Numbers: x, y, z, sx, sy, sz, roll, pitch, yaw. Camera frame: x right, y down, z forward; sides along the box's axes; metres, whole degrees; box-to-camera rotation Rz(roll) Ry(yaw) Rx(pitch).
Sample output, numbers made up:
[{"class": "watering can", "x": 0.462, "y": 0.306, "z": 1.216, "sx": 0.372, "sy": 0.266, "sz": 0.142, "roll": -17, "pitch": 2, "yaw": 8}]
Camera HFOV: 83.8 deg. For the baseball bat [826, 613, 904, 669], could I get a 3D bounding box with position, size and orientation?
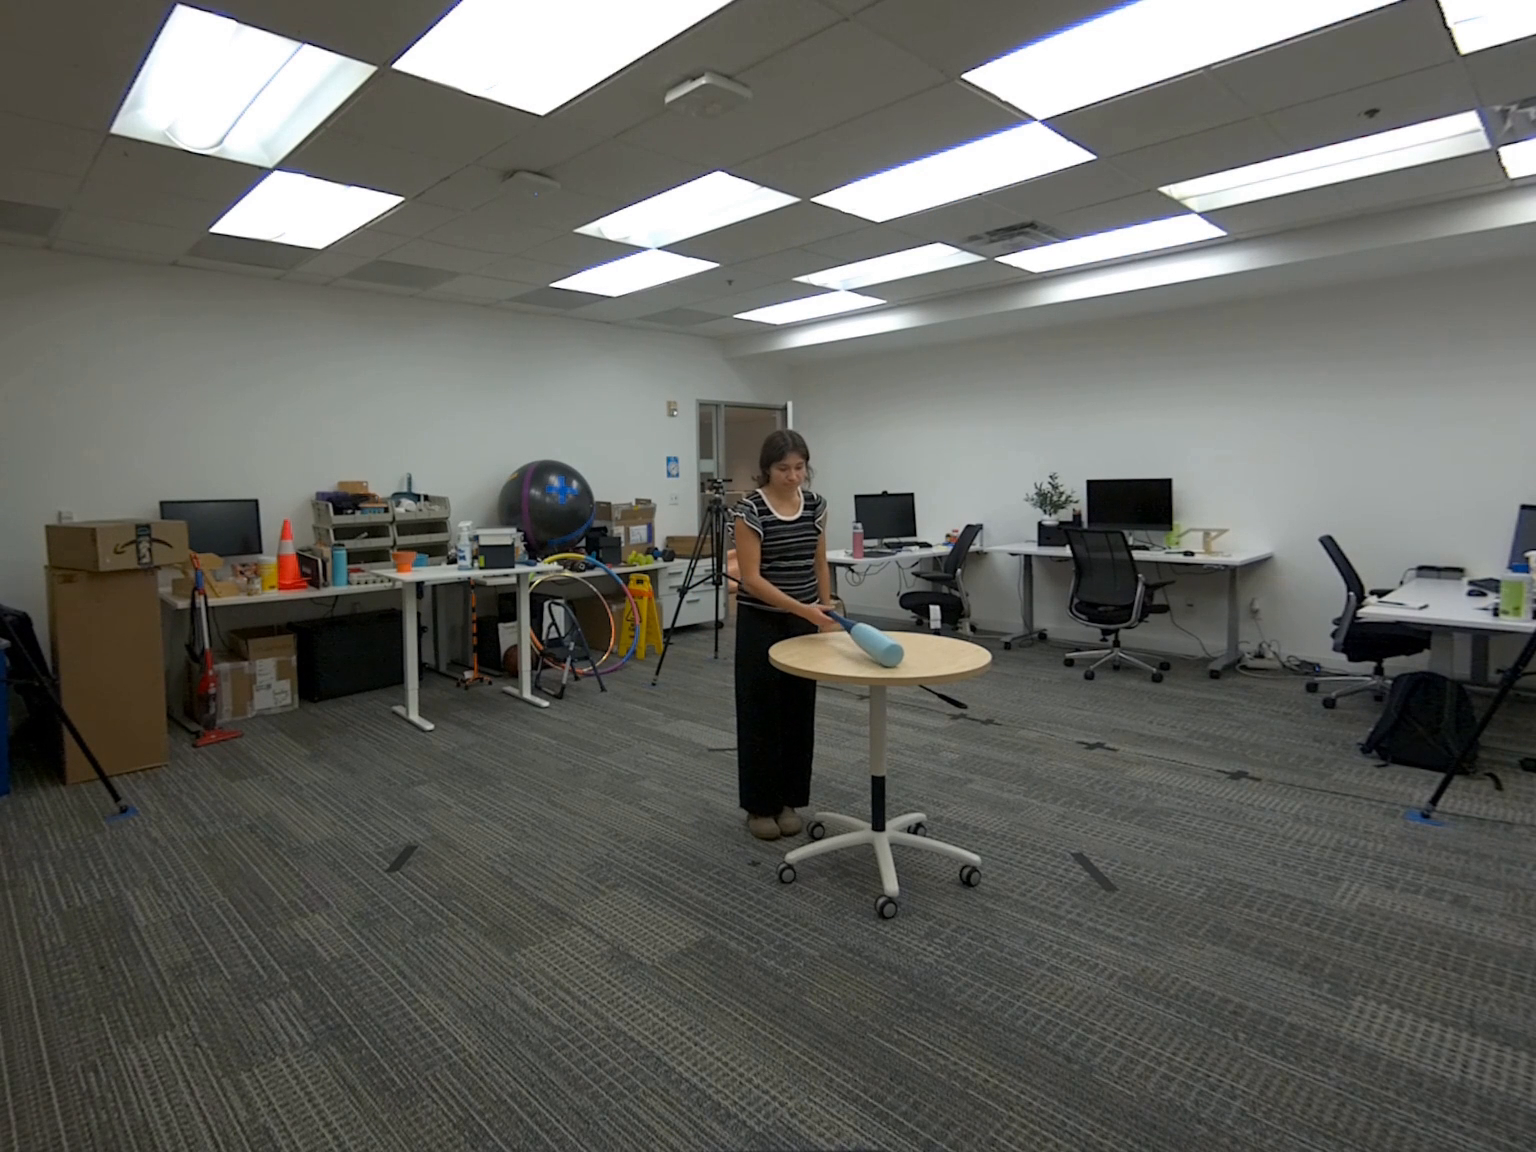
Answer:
[{"class": "baseball bat", "x": 0.309, "y": 0.195, "z": 2.985, "sx": 0.088, "sy": 0.088, "sz": 0.556, "roll": -2, "pitch": 13, "yaw": -16}]
